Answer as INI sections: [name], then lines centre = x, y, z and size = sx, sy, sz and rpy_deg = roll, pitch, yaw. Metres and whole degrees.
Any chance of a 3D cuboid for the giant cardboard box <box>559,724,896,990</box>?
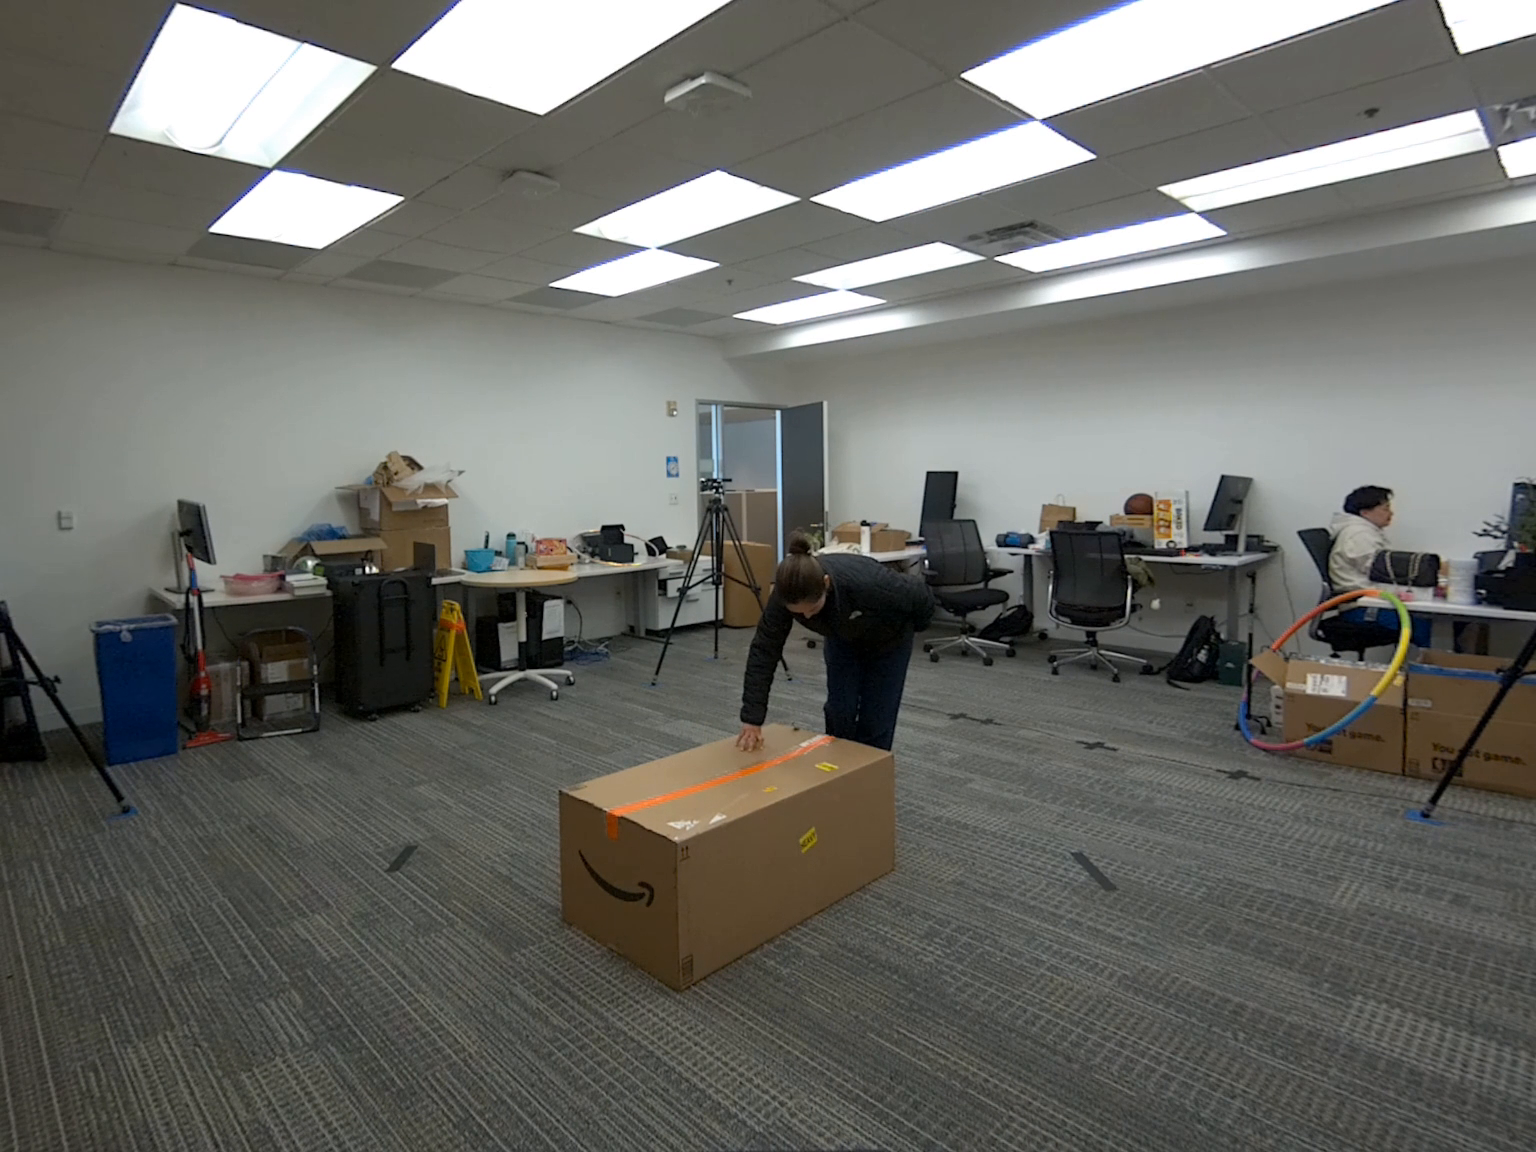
[giant cardboard box]
centre = -0.108, 0.863, 2.886
size = 0.601, 0.445, 1.001
rpy_deg = 2, 7, 44
